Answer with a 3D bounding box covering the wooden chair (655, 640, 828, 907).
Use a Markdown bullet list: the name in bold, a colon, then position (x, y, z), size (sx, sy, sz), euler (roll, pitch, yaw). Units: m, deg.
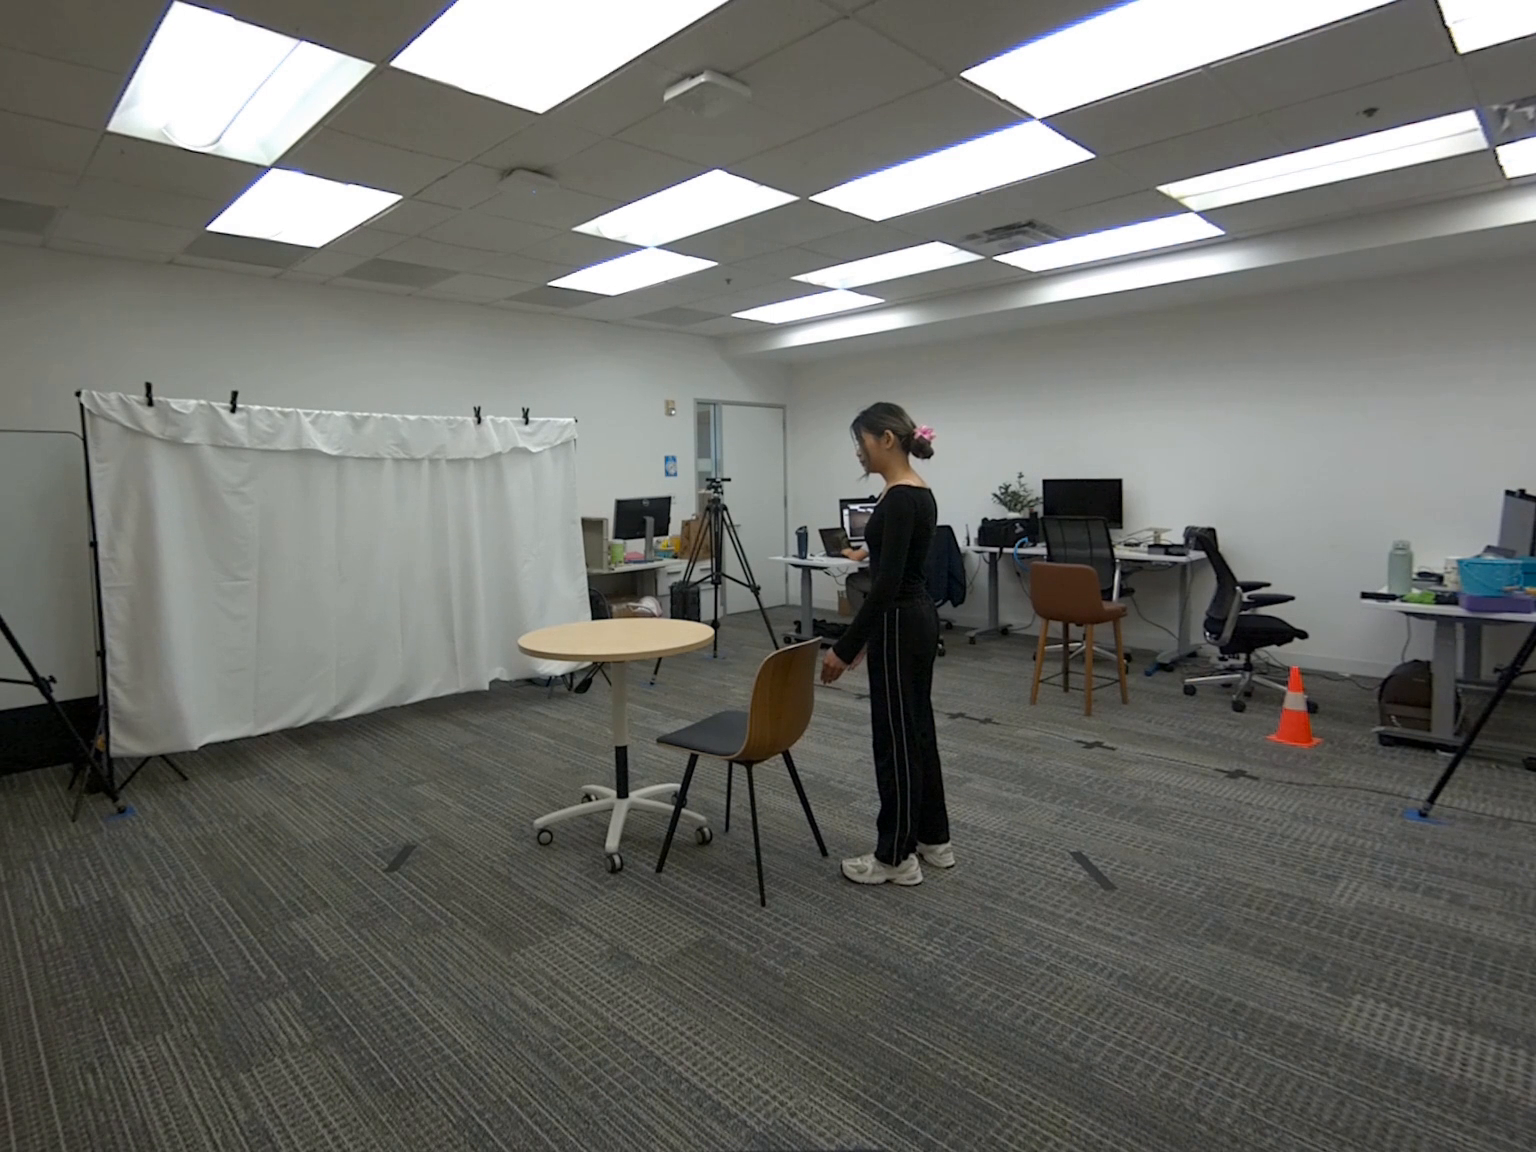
- **wooden chair**: position (-0.099, 0.619, 3.058), size (0.539, 0.872, 0.467), euler (7, 8, 33)
